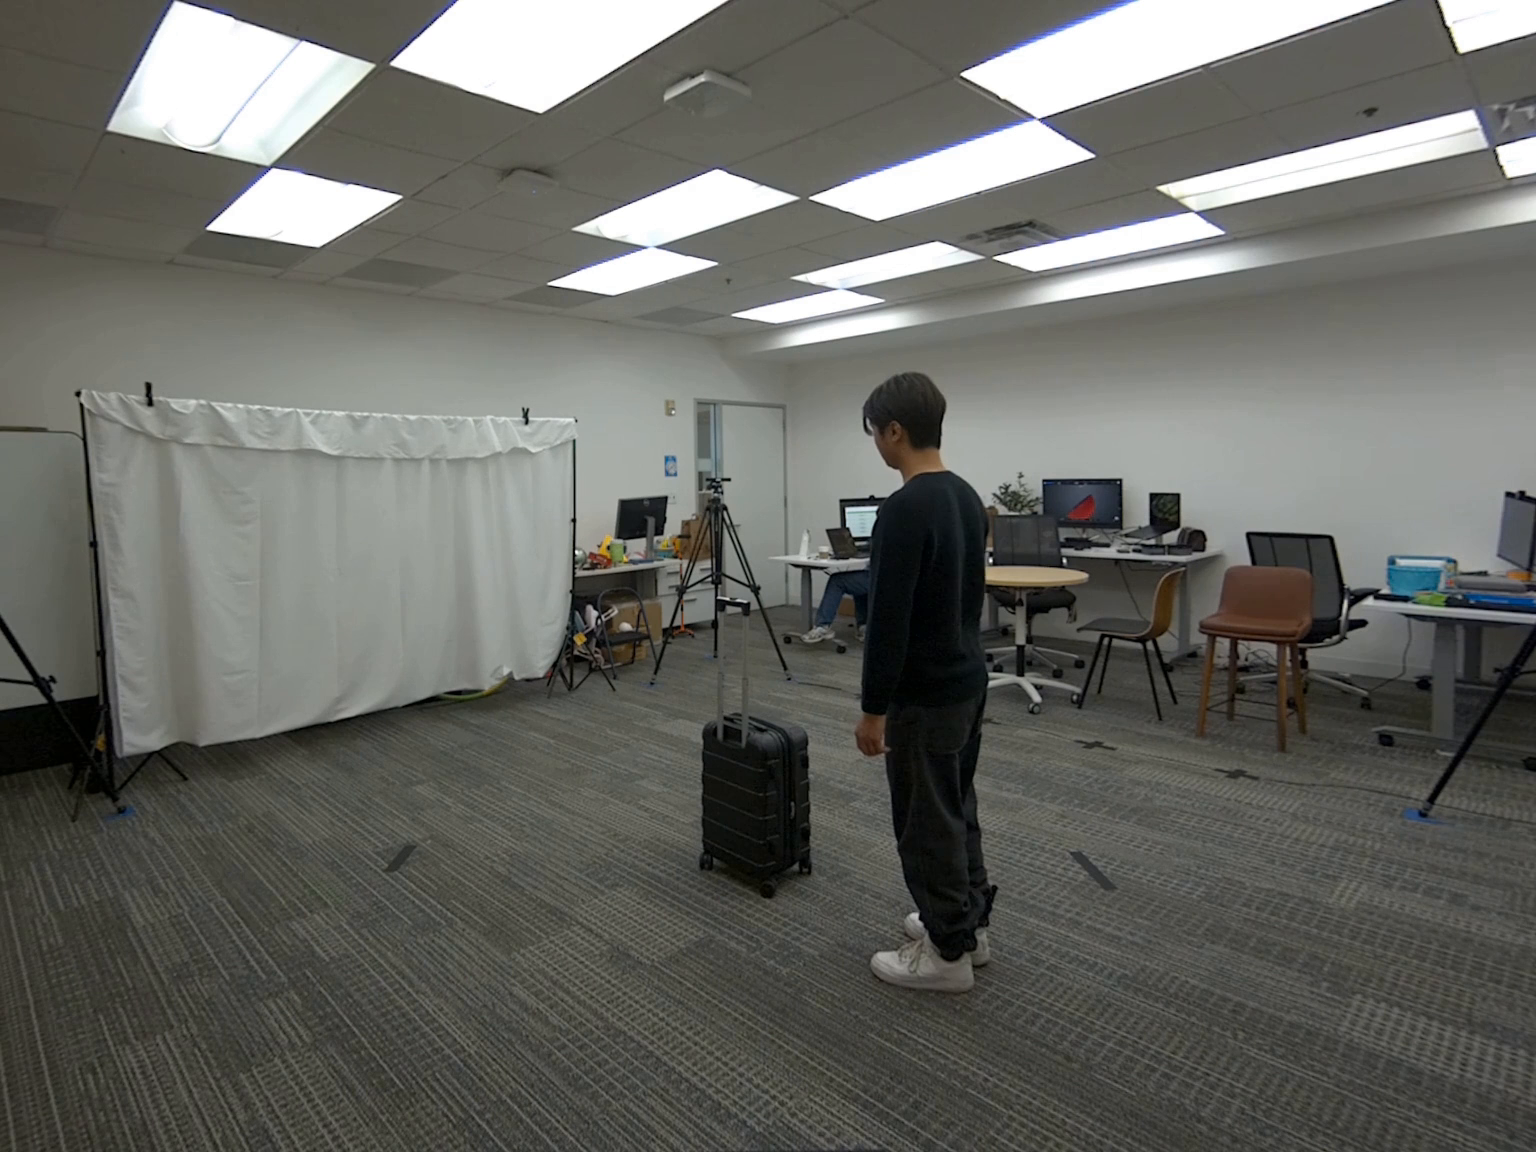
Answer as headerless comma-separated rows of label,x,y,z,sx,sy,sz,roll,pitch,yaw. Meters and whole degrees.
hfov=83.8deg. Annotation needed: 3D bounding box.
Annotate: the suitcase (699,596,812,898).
suitcase,-0.042,0.572,3.023,0.250,0.976,0.396,-2,4,-44
